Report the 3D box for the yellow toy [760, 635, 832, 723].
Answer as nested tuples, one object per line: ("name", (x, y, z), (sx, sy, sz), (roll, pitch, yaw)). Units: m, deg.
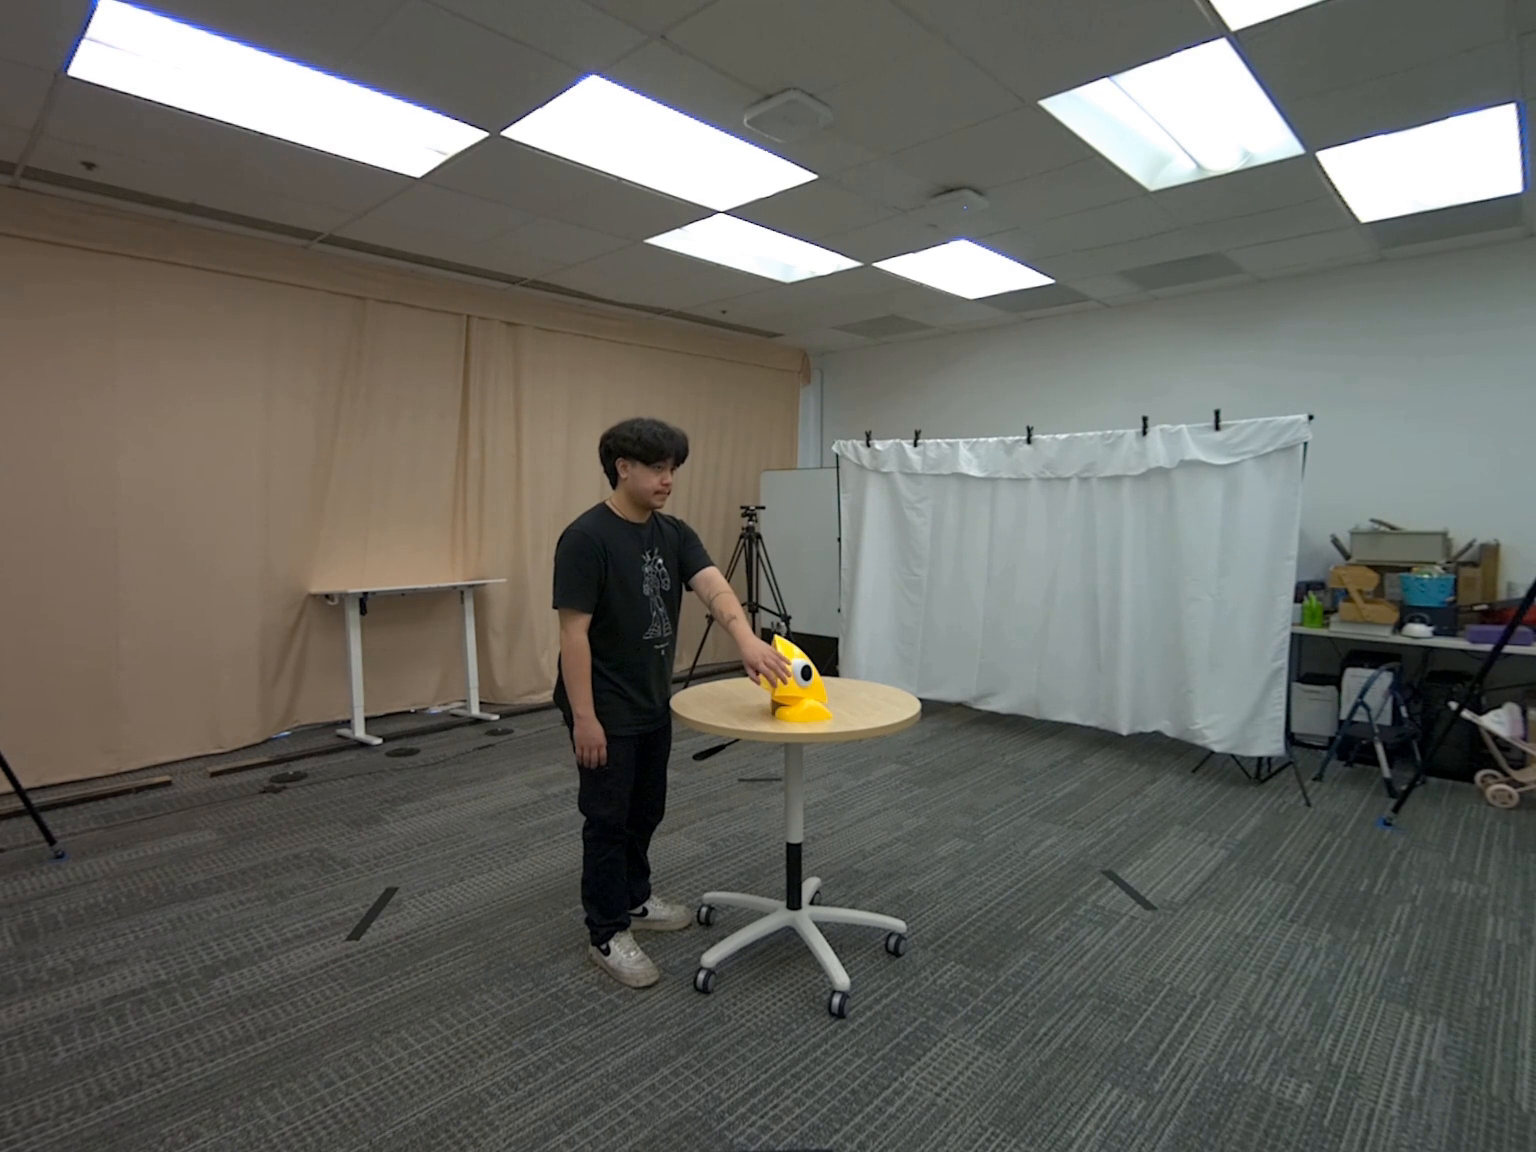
("yellow toy", (0.084, 0.283, 2.423), (0.191, 0.230, 0.208), (-1, 2, -12))
